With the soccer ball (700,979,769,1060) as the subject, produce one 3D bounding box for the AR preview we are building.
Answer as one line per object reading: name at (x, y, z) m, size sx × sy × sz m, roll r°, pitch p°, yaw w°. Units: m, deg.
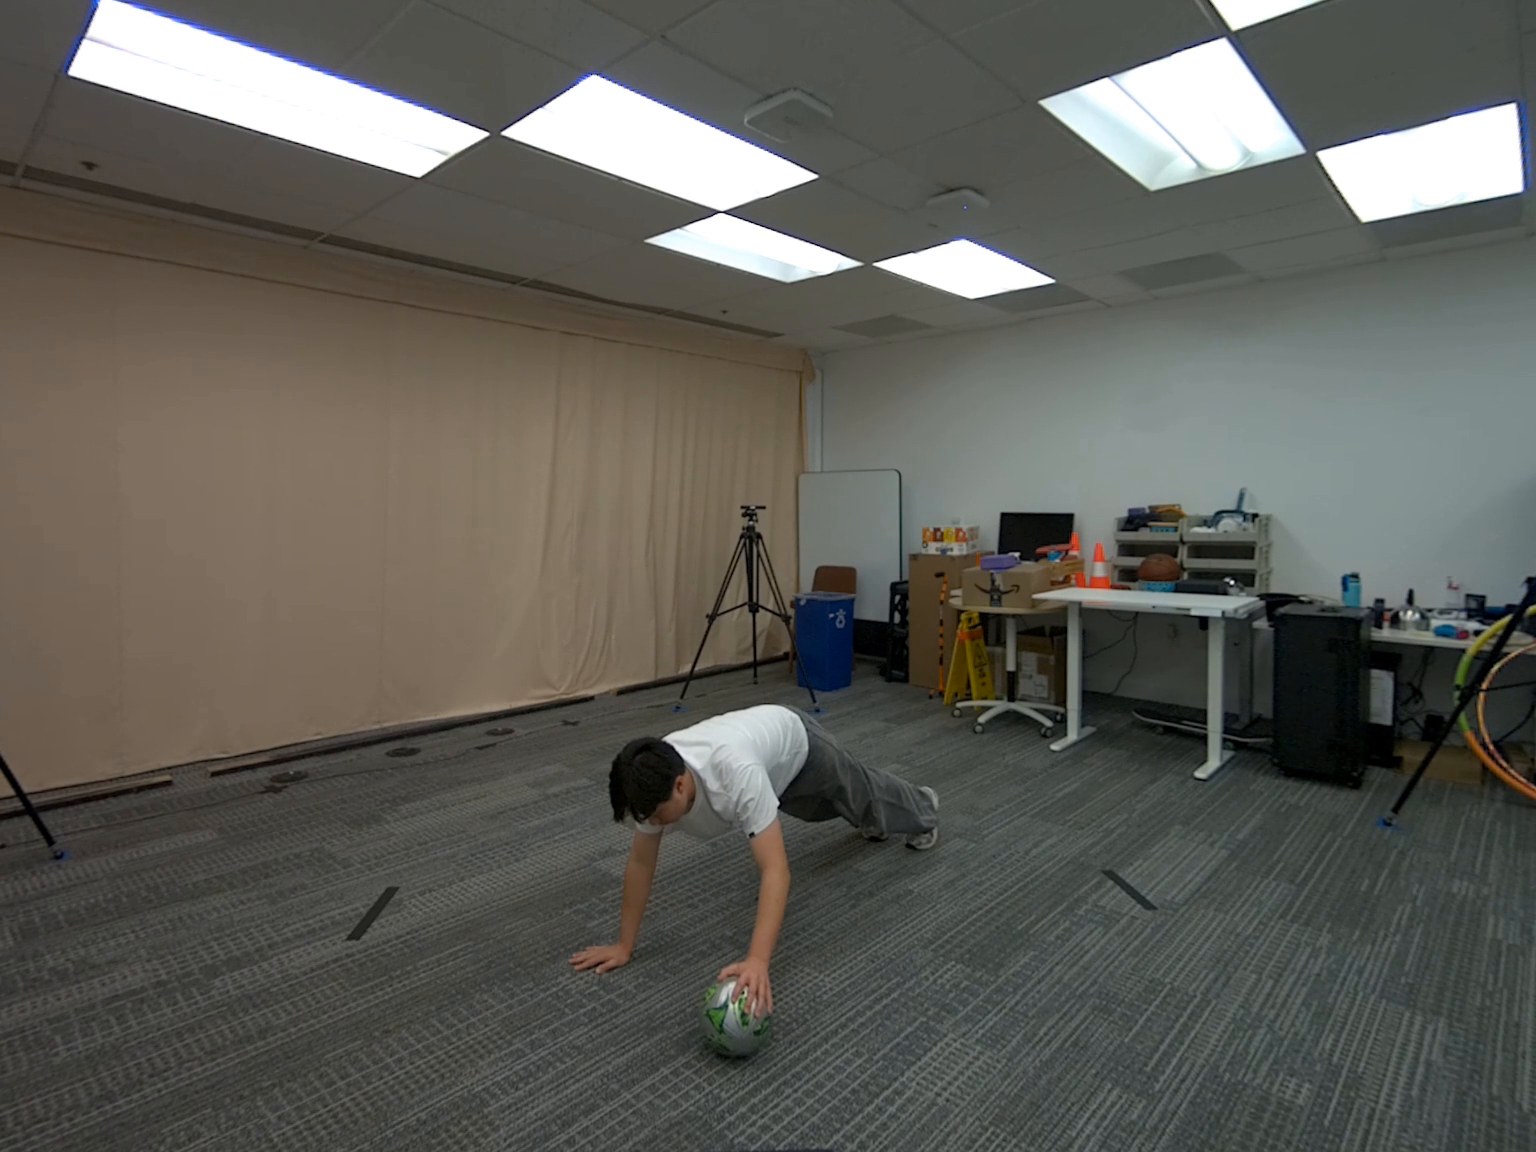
soccer ball at (-0.083, 1.119, 2.165) m, size 0.187 × 0.187 × 0.188 m, roll 0°, pitch 4°, yaw -2°
